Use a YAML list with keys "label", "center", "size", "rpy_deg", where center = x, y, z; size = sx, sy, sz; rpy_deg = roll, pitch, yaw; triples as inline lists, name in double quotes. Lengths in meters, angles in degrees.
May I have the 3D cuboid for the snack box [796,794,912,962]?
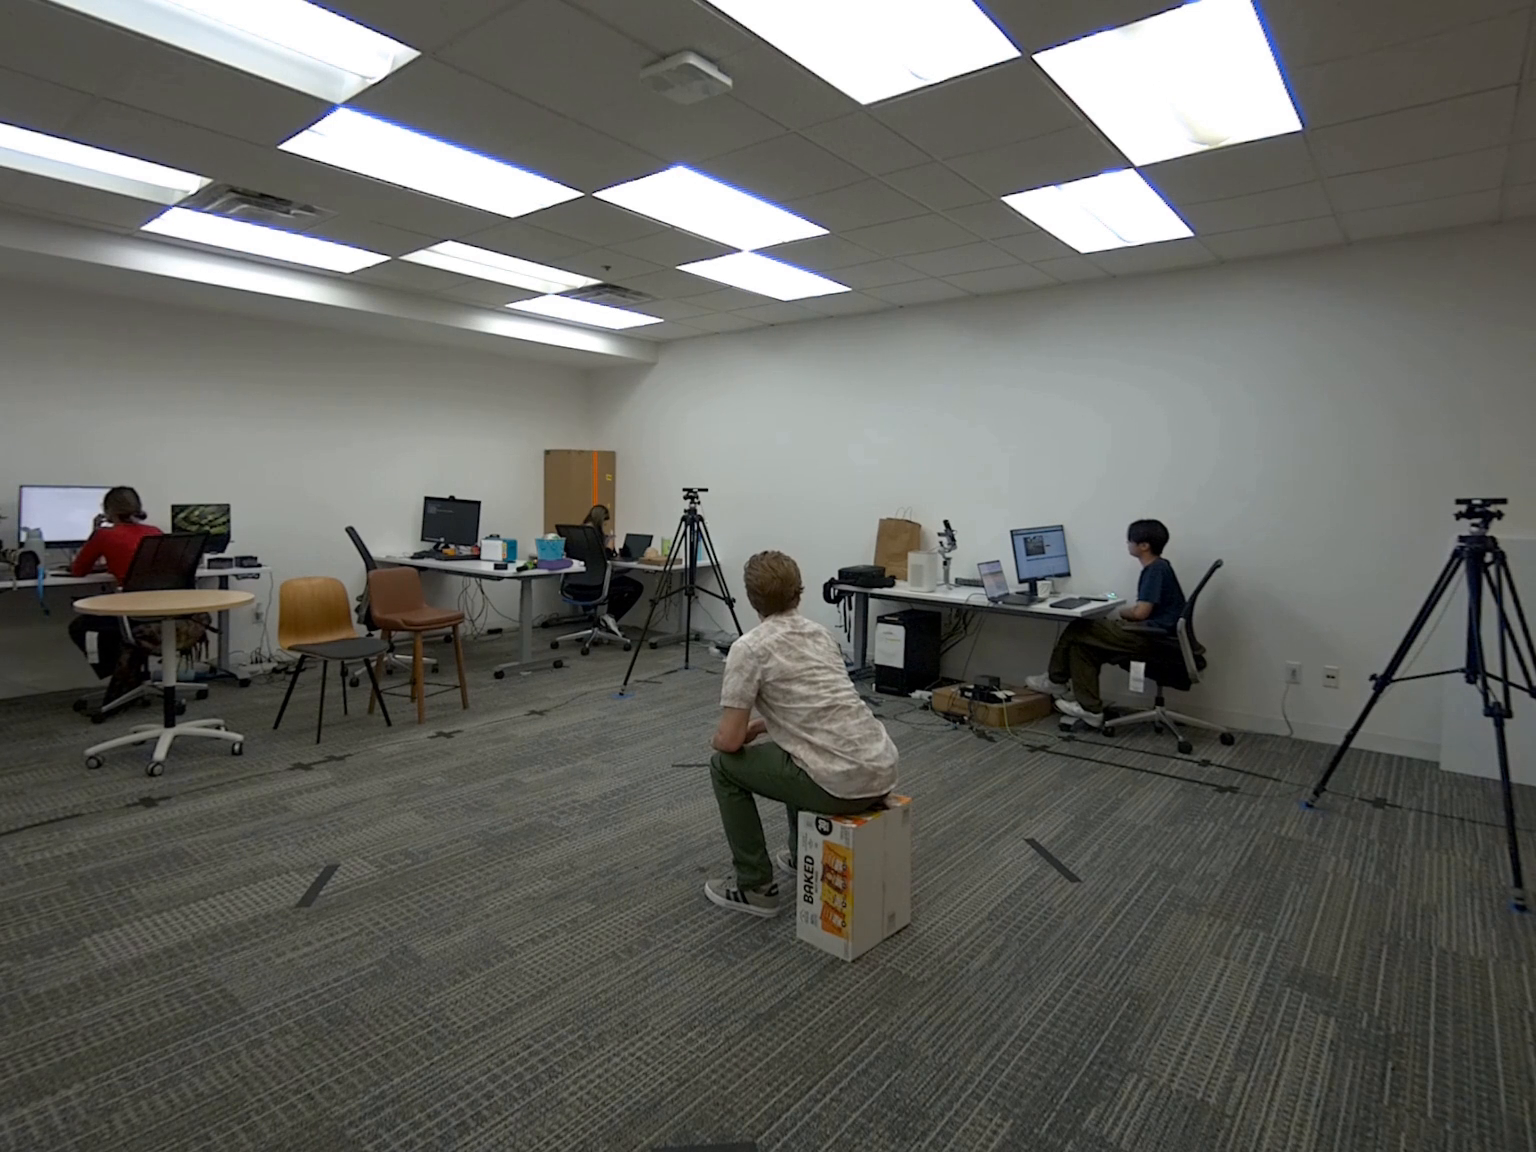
- label: "snack box"
  center: [0.274, 0.921, 2.690]
  size: [0.212, 0.404, 0.330]
  rpy_deg: [2, 3, 42]
